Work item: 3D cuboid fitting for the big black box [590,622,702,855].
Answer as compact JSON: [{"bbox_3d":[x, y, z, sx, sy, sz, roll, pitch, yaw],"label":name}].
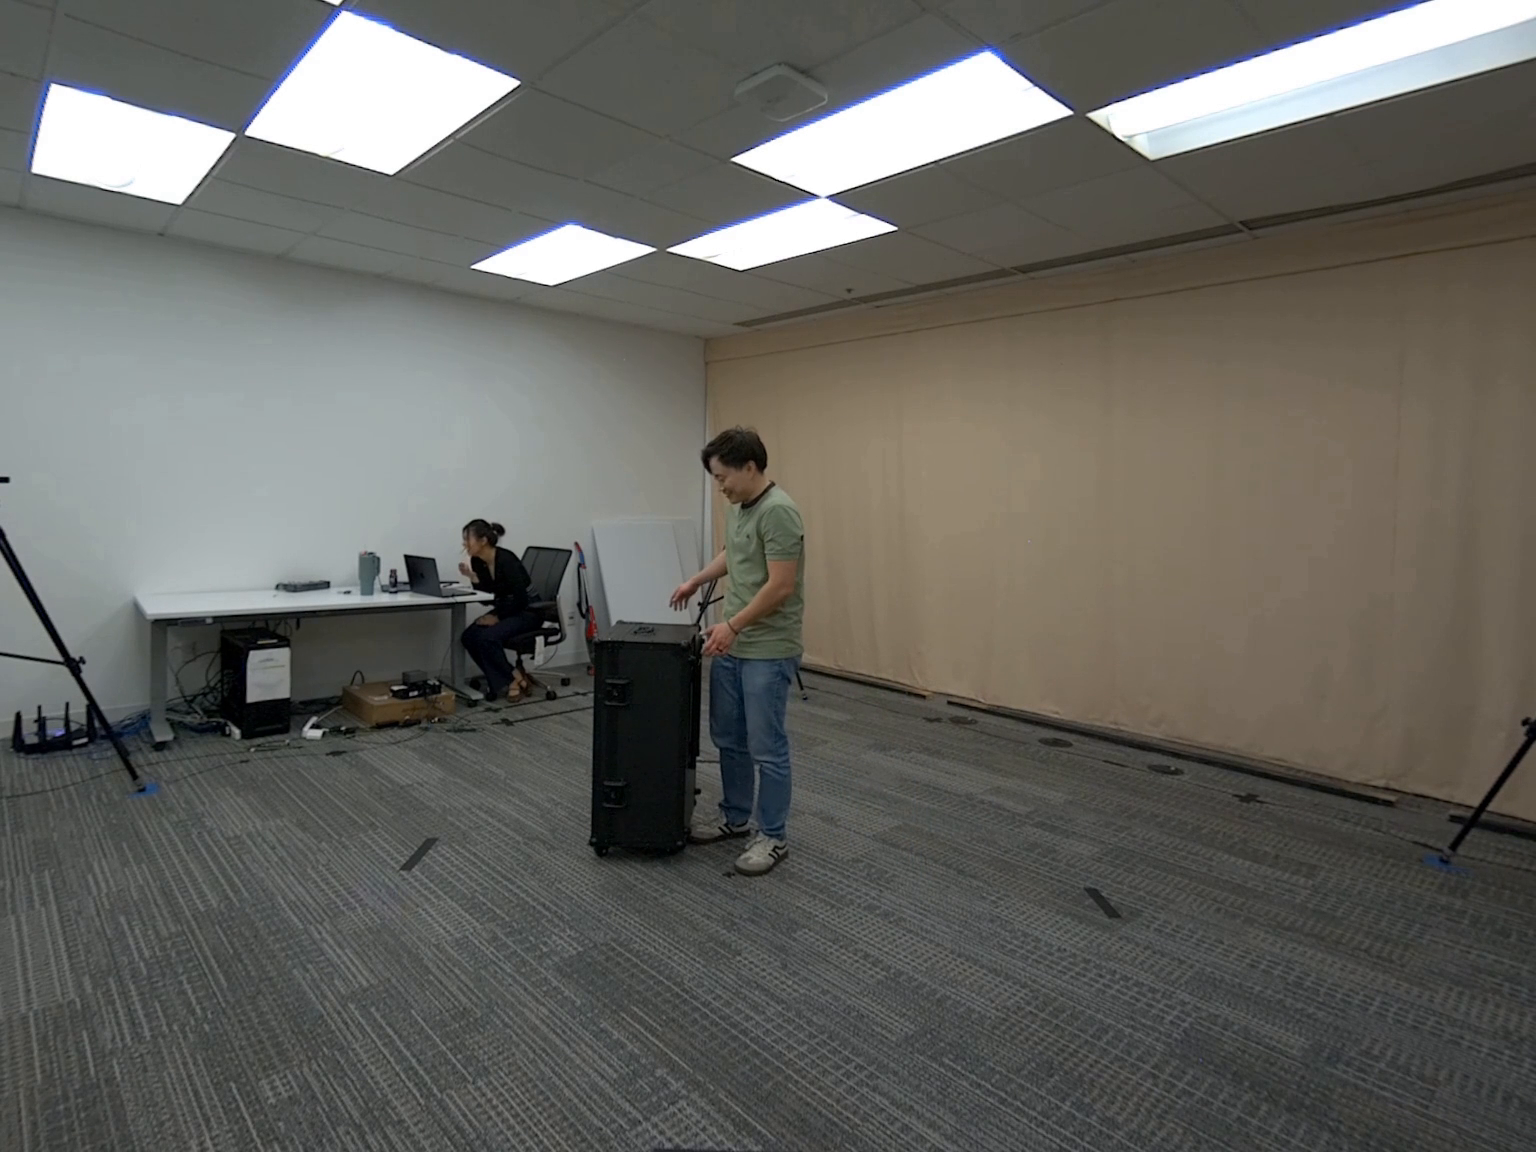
[{"bbox_3d":[-0.477,0.645,3.375,0.397,0.859,0.521,2,3,2],"label":"big black box"}]
